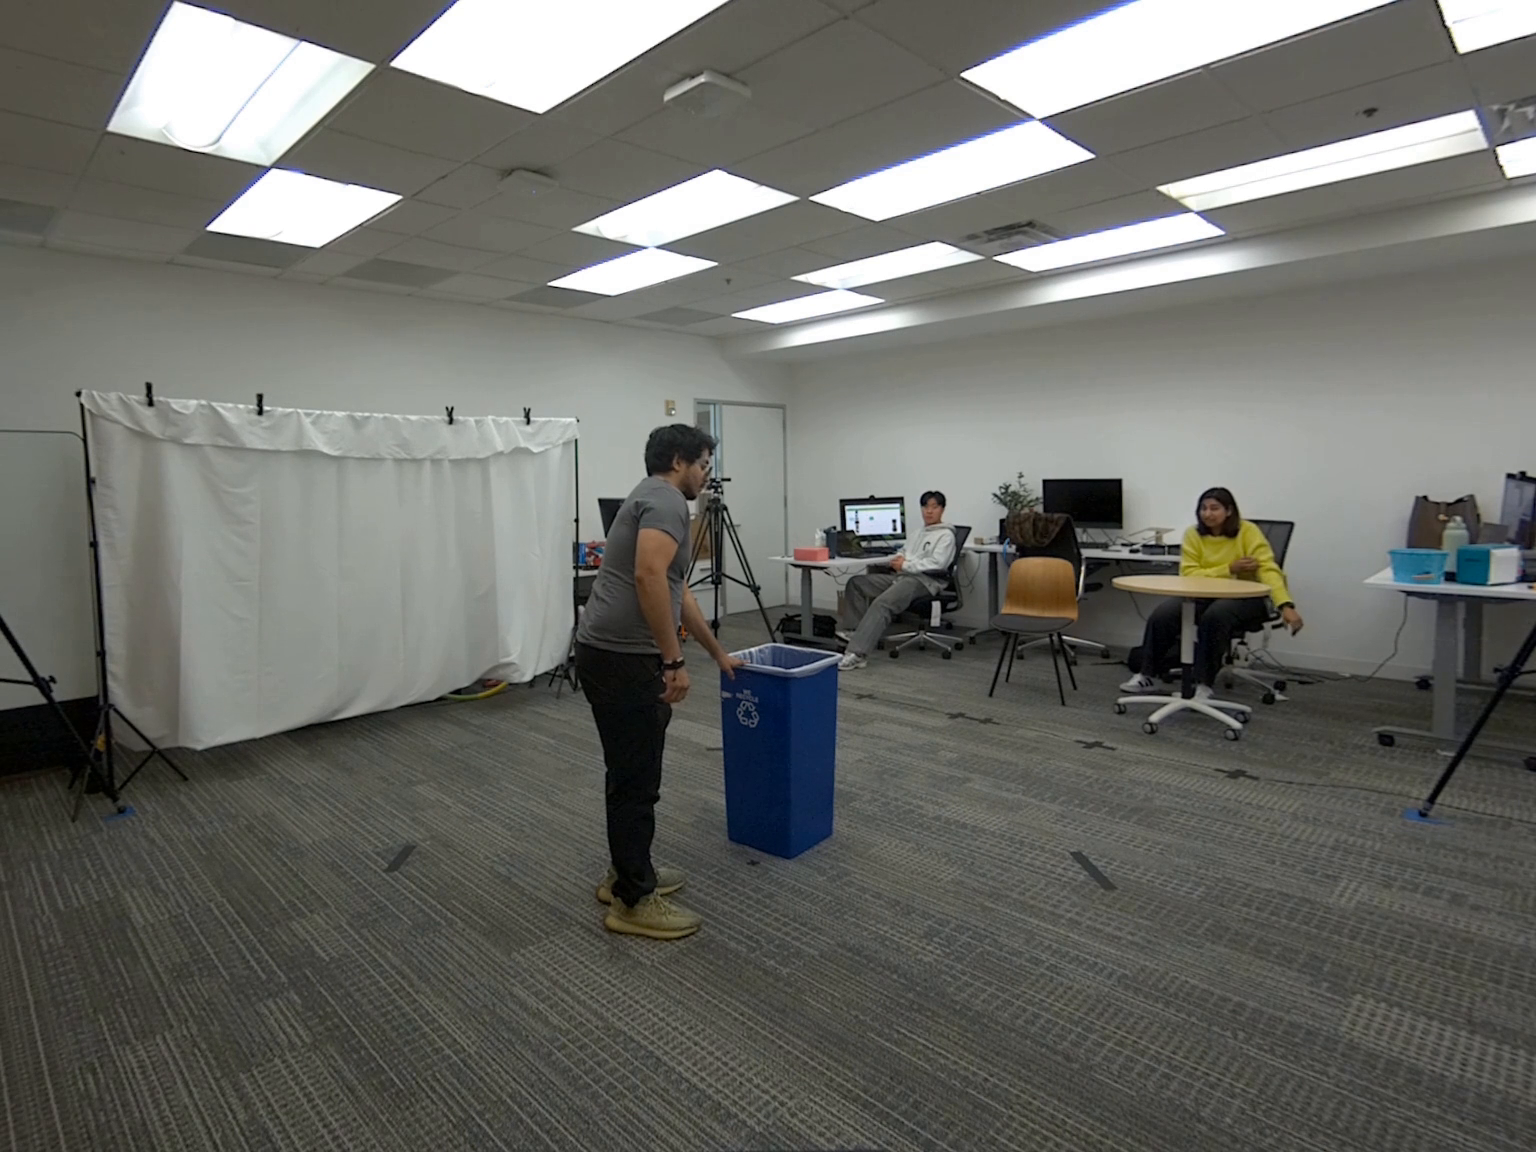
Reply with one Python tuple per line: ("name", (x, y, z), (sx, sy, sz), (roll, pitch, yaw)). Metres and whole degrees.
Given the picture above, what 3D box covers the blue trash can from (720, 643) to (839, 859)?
("blue trash can", (0.055, 0.660, 3.303), (0.385, 0.711, 0.368), (3, 6, 39))
